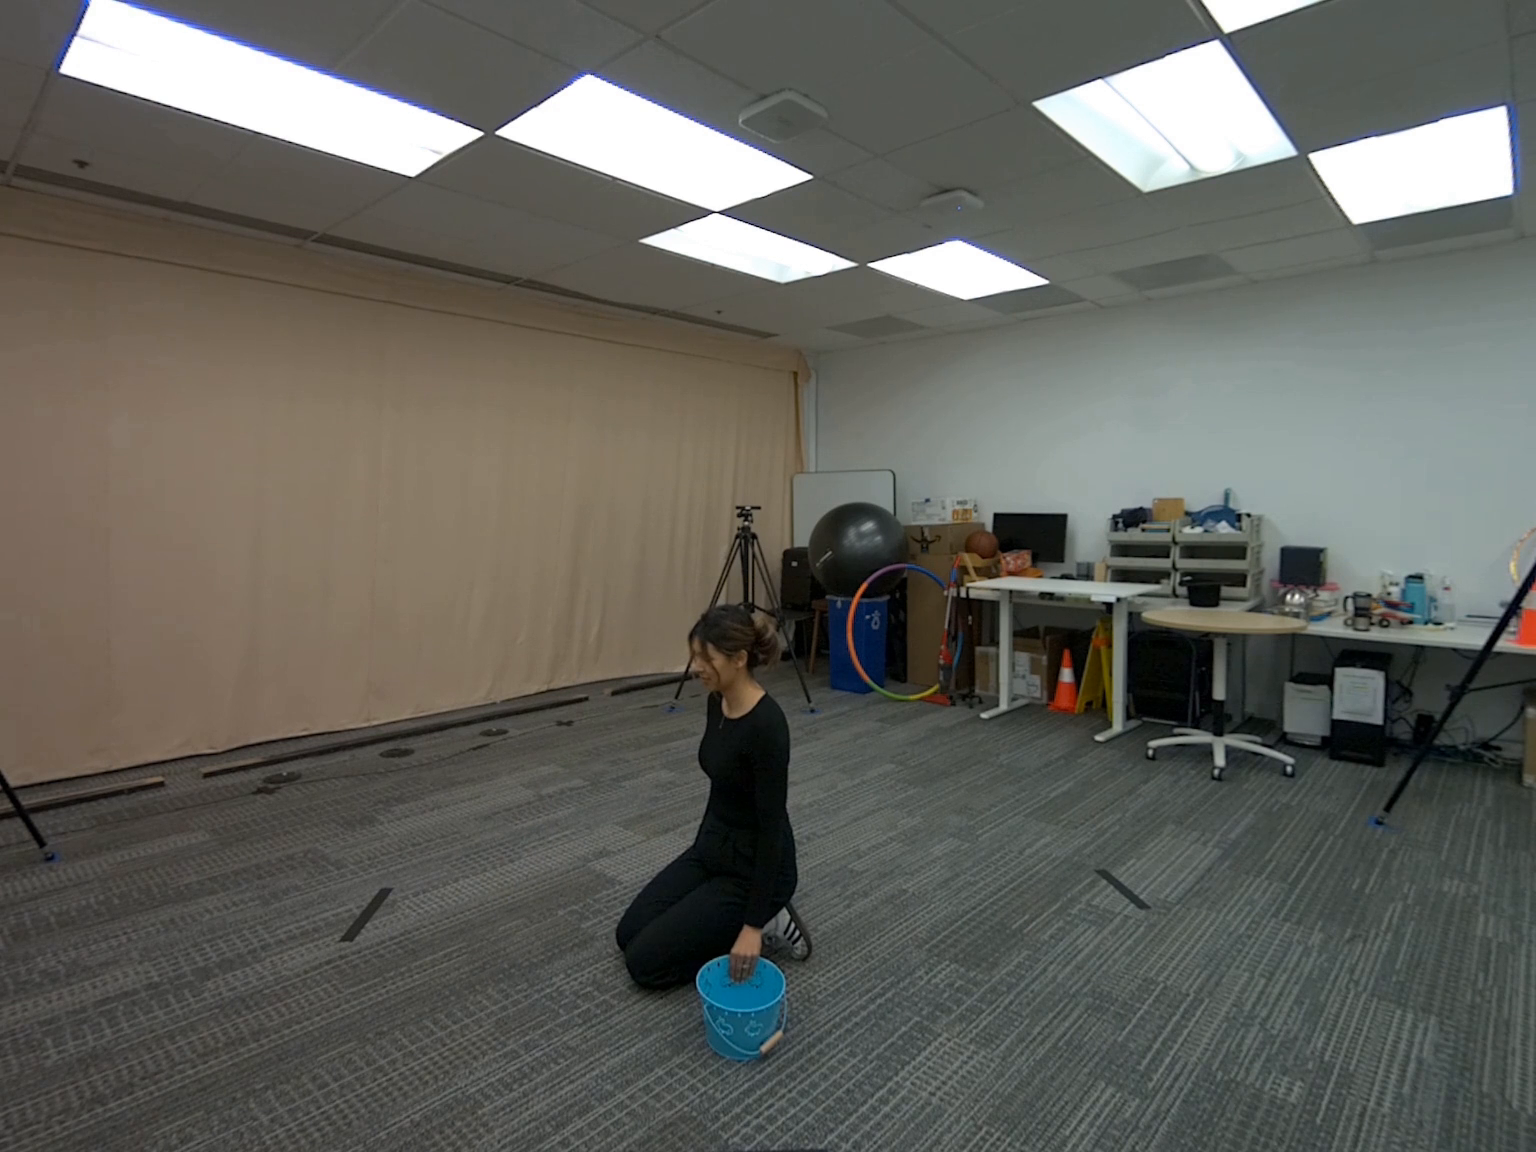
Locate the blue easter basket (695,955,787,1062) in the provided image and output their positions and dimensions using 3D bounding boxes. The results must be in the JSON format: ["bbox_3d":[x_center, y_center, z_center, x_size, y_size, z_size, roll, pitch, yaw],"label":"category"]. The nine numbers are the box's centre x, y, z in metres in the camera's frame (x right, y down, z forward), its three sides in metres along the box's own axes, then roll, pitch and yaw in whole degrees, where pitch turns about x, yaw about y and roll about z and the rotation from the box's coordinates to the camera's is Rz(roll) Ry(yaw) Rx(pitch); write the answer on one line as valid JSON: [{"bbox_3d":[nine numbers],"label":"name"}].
[{"bbox_3d":[-0.070,1.121,2.192,0.243,0.155,0.245,-1,8,-2],"label":"blue easter basket"}]
